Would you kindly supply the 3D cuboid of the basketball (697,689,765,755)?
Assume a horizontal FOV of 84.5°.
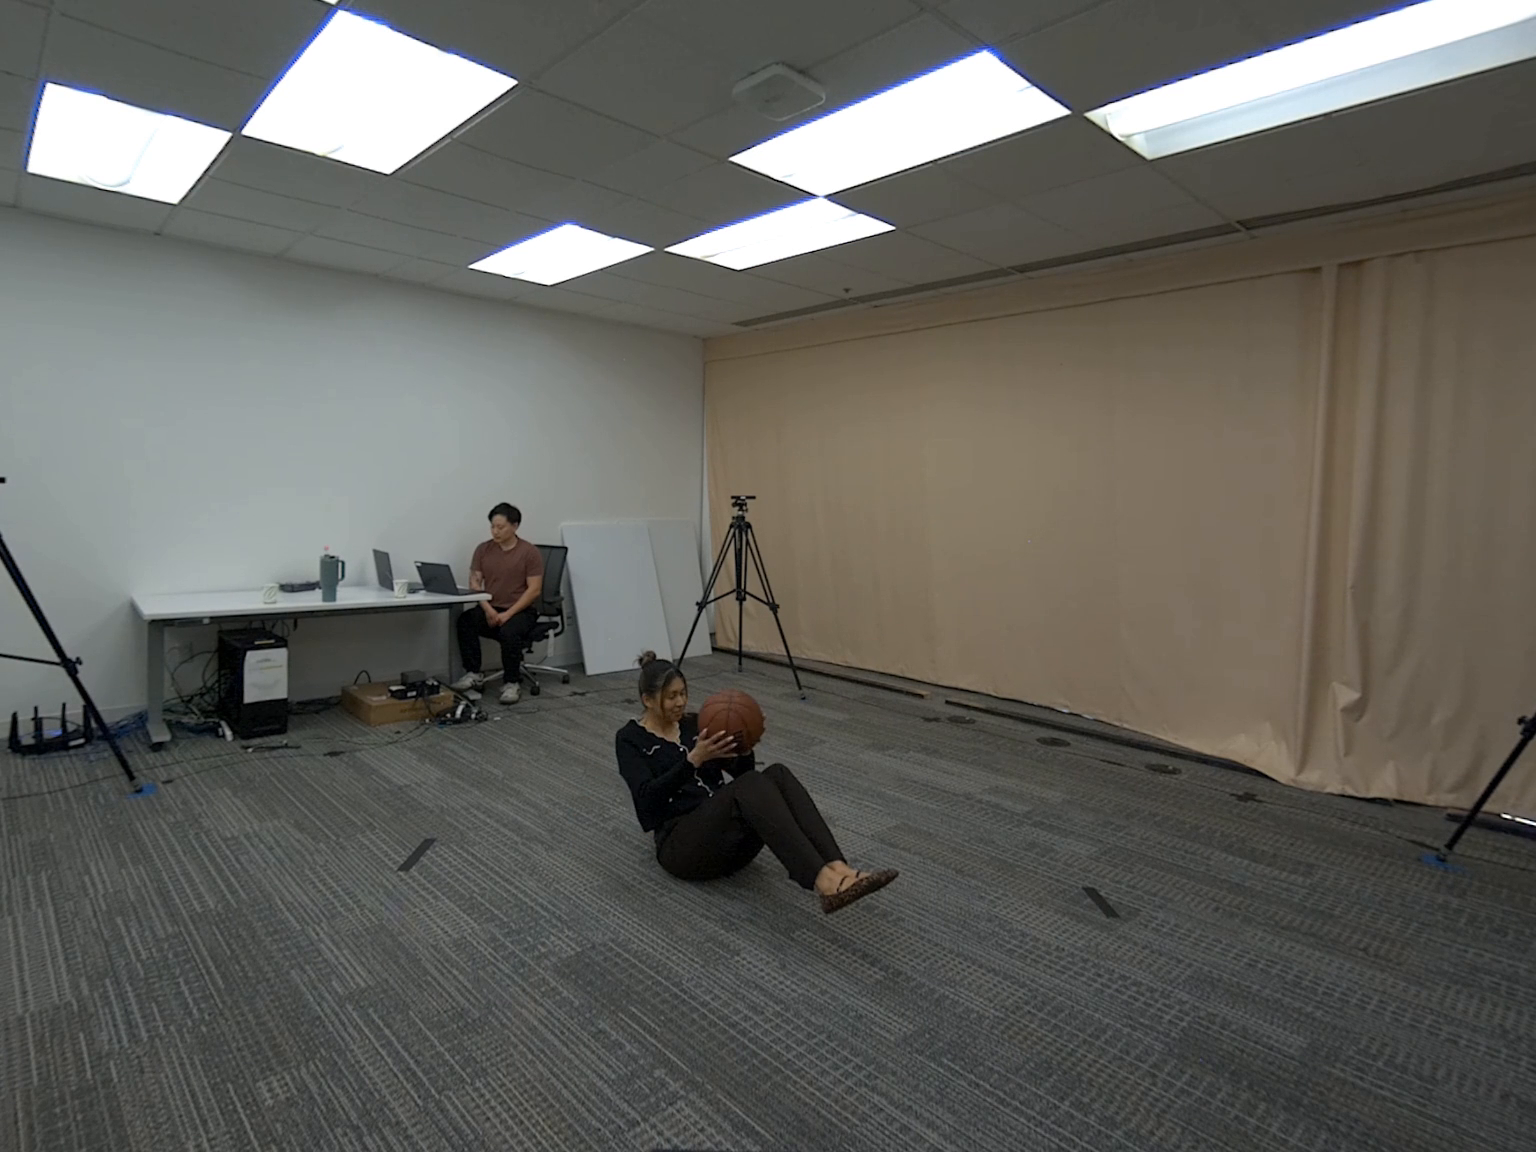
[{"bbox_3d":[-0.153,0.538,3.017,0.236,0.235,0.237,1,4,-1],"label":"basketball"}]
